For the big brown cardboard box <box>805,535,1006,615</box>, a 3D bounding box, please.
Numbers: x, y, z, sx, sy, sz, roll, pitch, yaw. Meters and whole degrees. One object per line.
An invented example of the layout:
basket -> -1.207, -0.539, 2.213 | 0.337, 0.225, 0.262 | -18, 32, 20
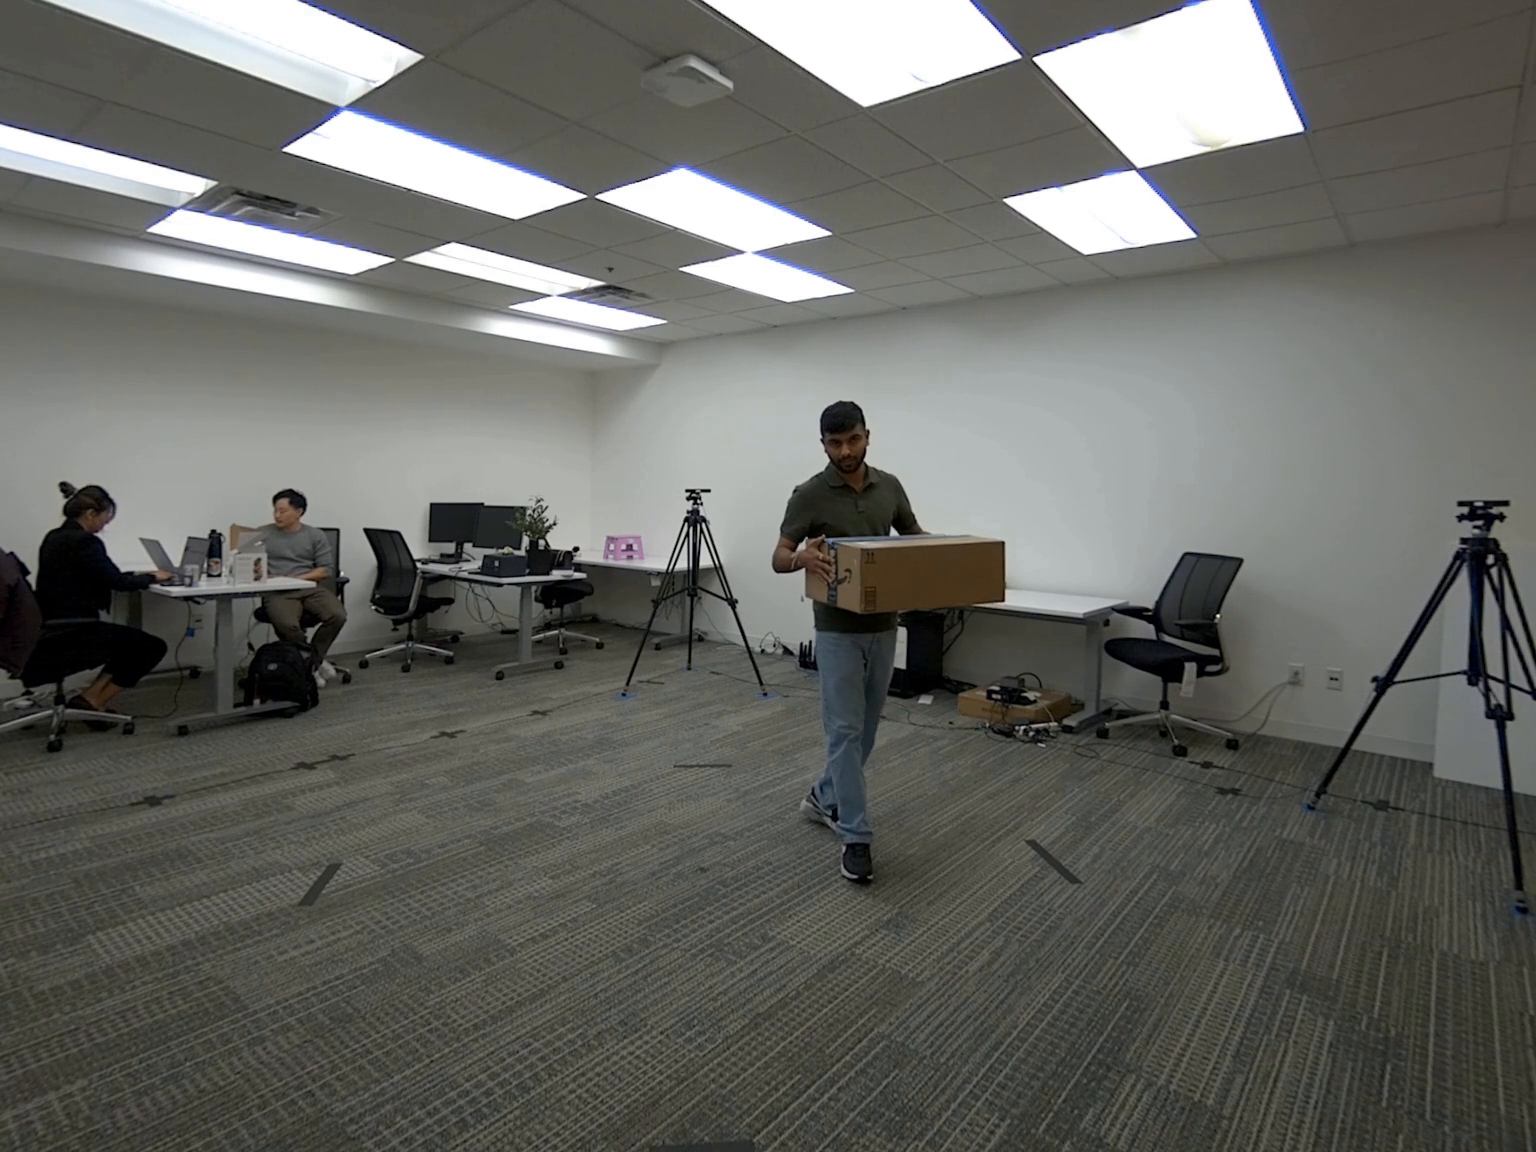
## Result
big brown cardboard box -> 0.461, -0.026, 2.997 | 0.577, 0.232, 0.428 | -2, 6, -21
